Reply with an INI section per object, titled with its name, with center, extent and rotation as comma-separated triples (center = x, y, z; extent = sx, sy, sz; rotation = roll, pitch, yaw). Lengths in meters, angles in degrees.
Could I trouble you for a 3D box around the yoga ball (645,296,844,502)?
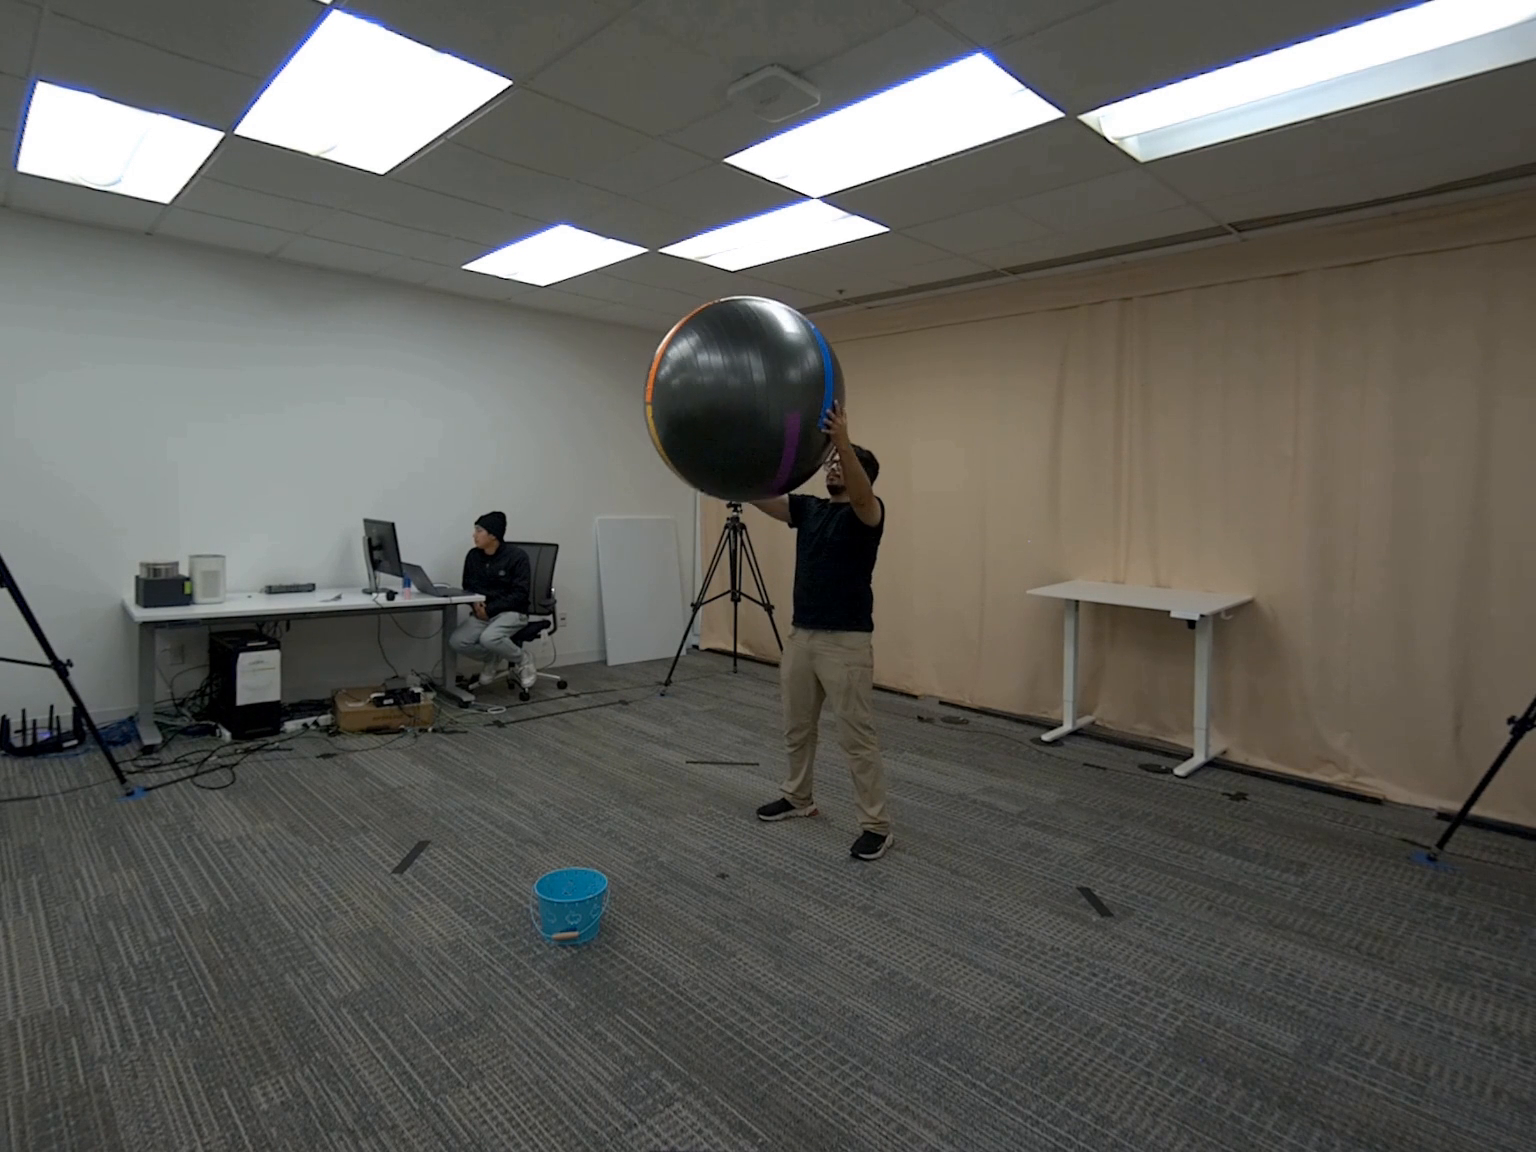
[yoga ball]
center = -0.094, -0.641, 3.169
extent = 0.757, 0.756, 0.760
rotation = 1, 4, -1
